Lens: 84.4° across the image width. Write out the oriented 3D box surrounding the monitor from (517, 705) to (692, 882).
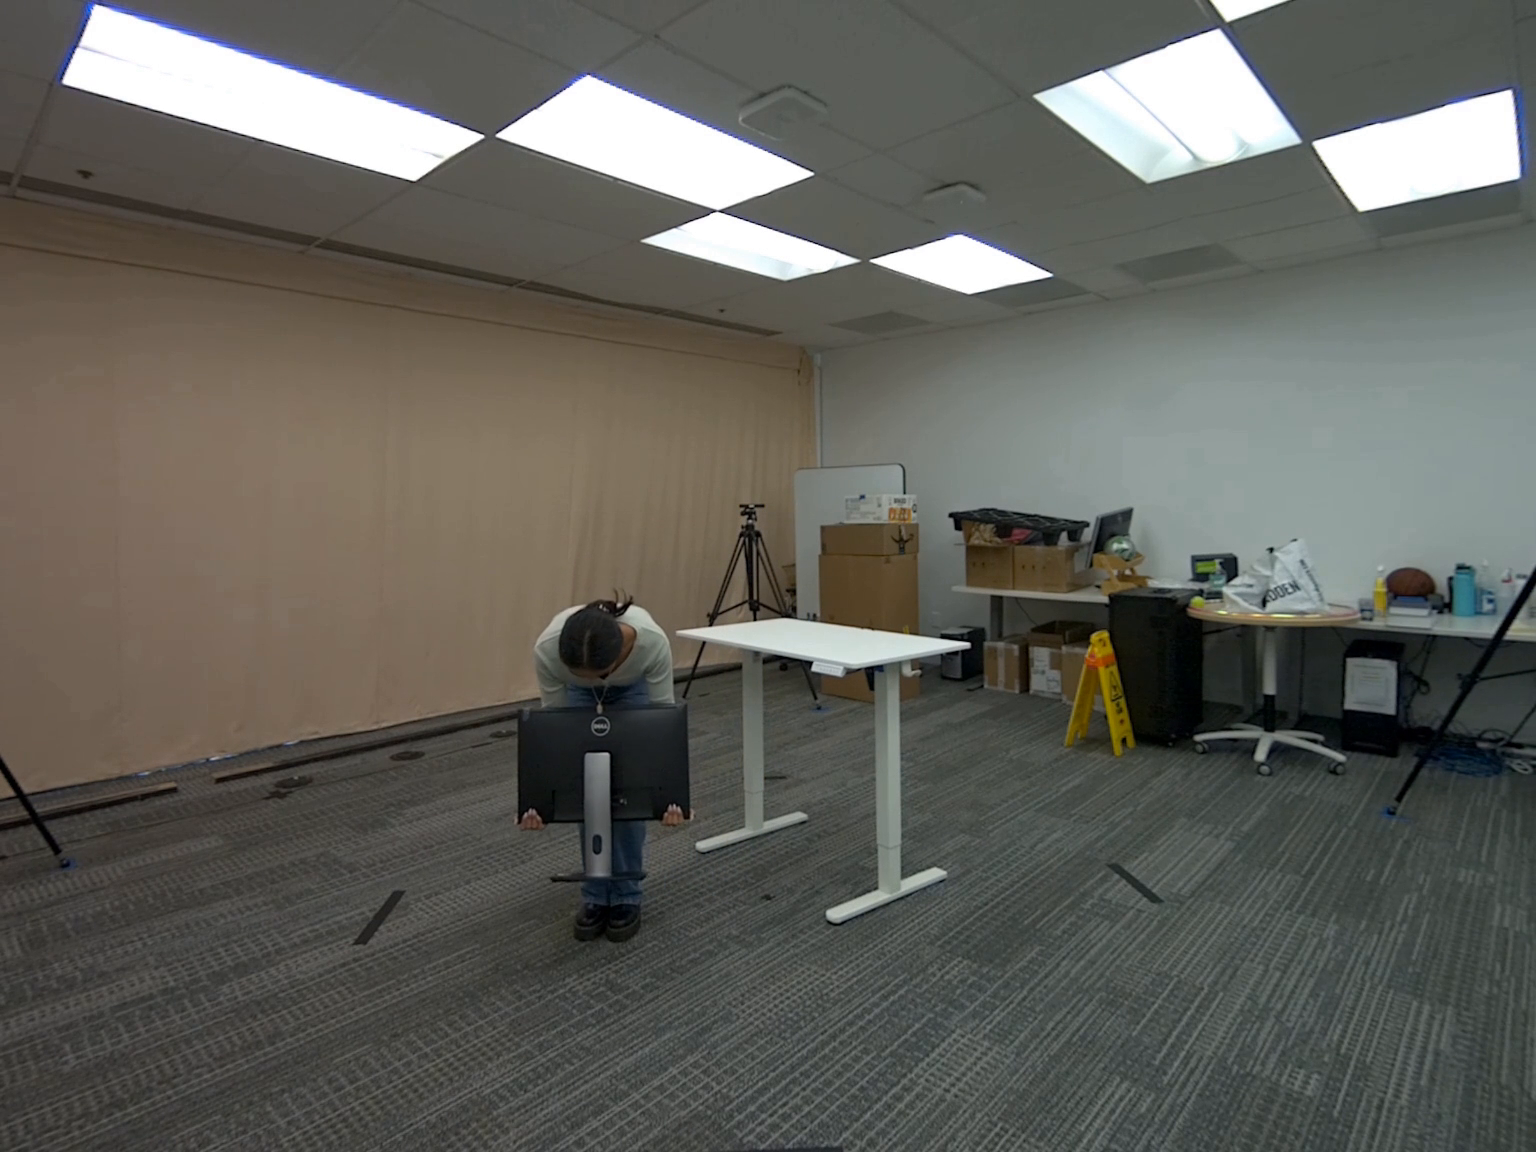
[{"bbox_3d":[-0.503,0.654,2.565,0.538,0.527,0.185,0,-15,-1],"label":"monitor"}]
